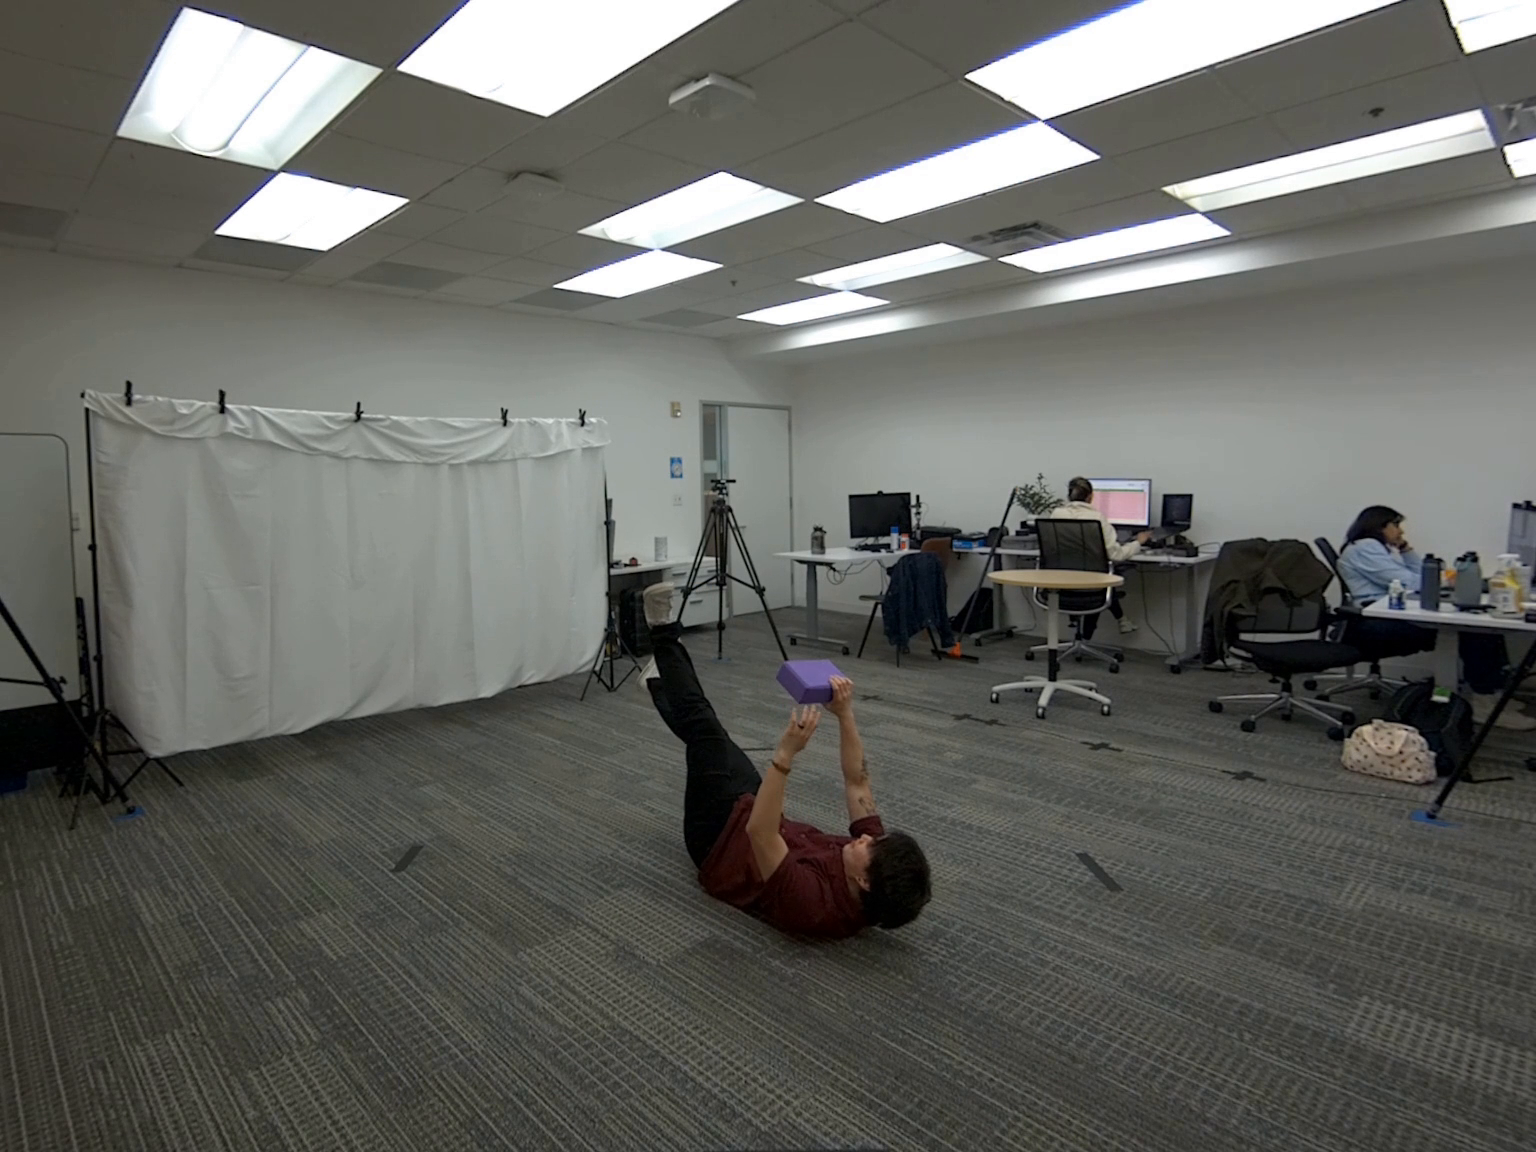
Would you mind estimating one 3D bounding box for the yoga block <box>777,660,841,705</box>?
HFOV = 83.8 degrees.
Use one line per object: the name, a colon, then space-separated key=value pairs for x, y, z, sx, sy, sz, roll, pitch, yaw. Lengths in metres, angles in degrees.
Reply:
yoga block: x=0.149 y=0.357 z=2.895 sx=0.222 sy=0.076 sz=0.155 roll=4 pitch=29 yaw=-40
